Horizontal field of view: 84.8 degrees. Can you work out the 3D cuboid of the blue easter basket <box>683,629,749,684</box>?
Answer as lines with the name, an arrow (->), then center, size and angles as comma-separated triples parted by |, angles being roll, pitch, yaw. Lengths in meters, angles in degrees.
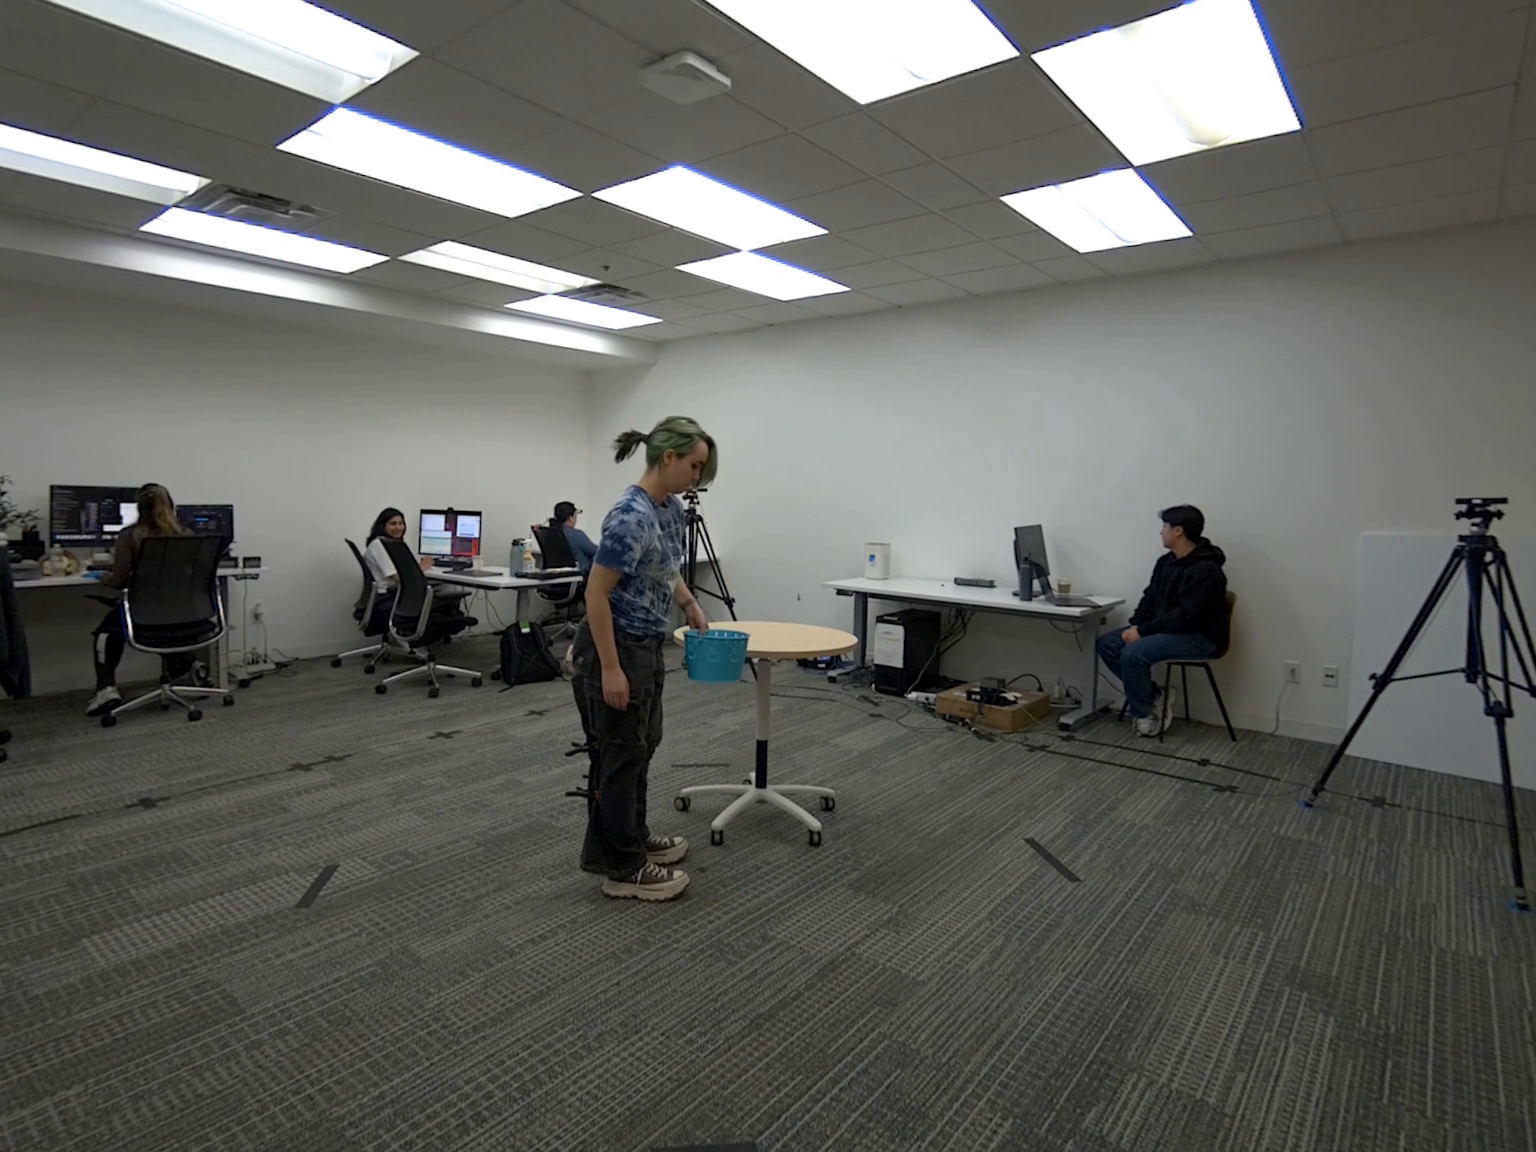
blue easter basket -> -0.194, 0.273, 2.873 | 0.243, 0.155, 0.244 | 3, 3, -2
